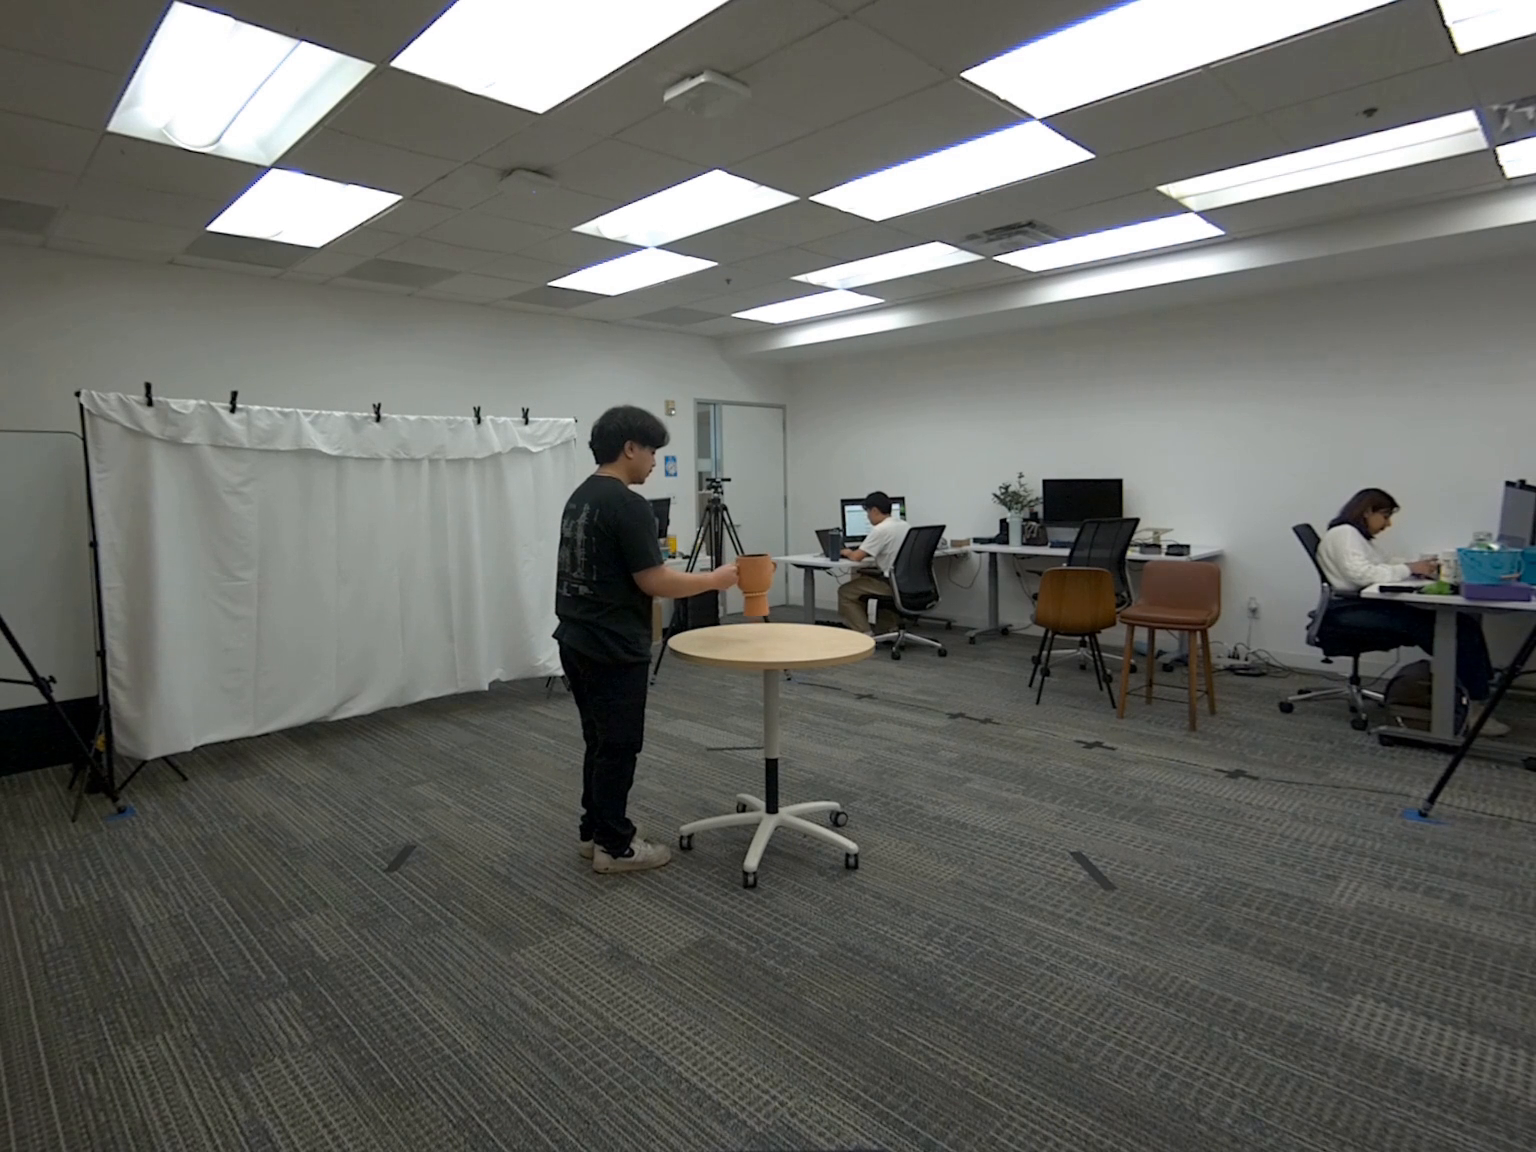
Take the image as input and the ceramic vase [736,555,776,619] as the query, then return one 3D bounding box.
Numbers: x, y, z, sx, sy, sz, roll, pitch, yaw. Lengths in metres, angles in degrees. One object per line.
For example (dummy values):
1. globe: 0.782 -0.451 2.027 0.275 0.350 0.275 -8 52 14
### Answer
1. ceramic vase: -0.050 0.033 3.155 0.160 0.219 0.134 -2 5 11
